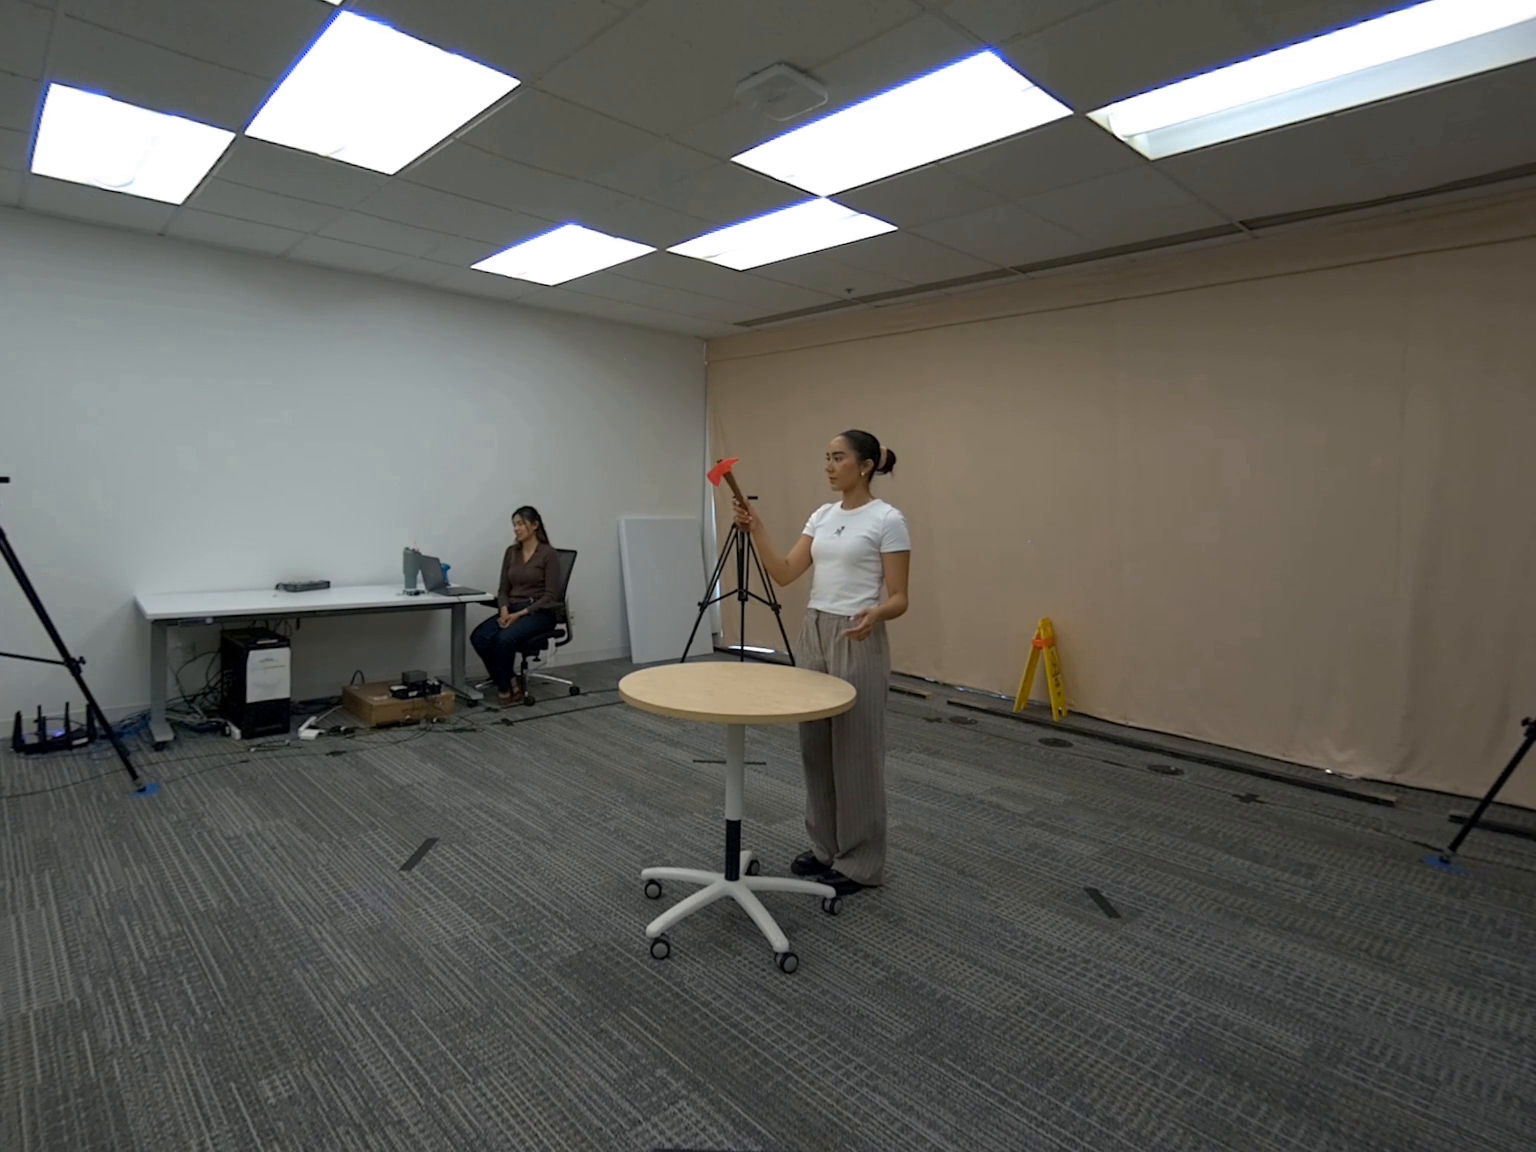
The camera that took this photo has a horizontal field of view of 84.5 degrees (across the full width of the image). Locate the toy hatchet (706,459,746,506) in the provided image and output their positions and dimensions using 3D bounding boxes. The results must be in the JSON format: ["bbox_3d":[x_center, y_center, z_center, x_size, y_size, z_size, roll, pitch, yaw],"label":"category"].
[{"bbox_3d":[-0.142,-0.282,2.975,0.132,0.268,0.029,-9,7,12],"label":"toy hatchet"}]
